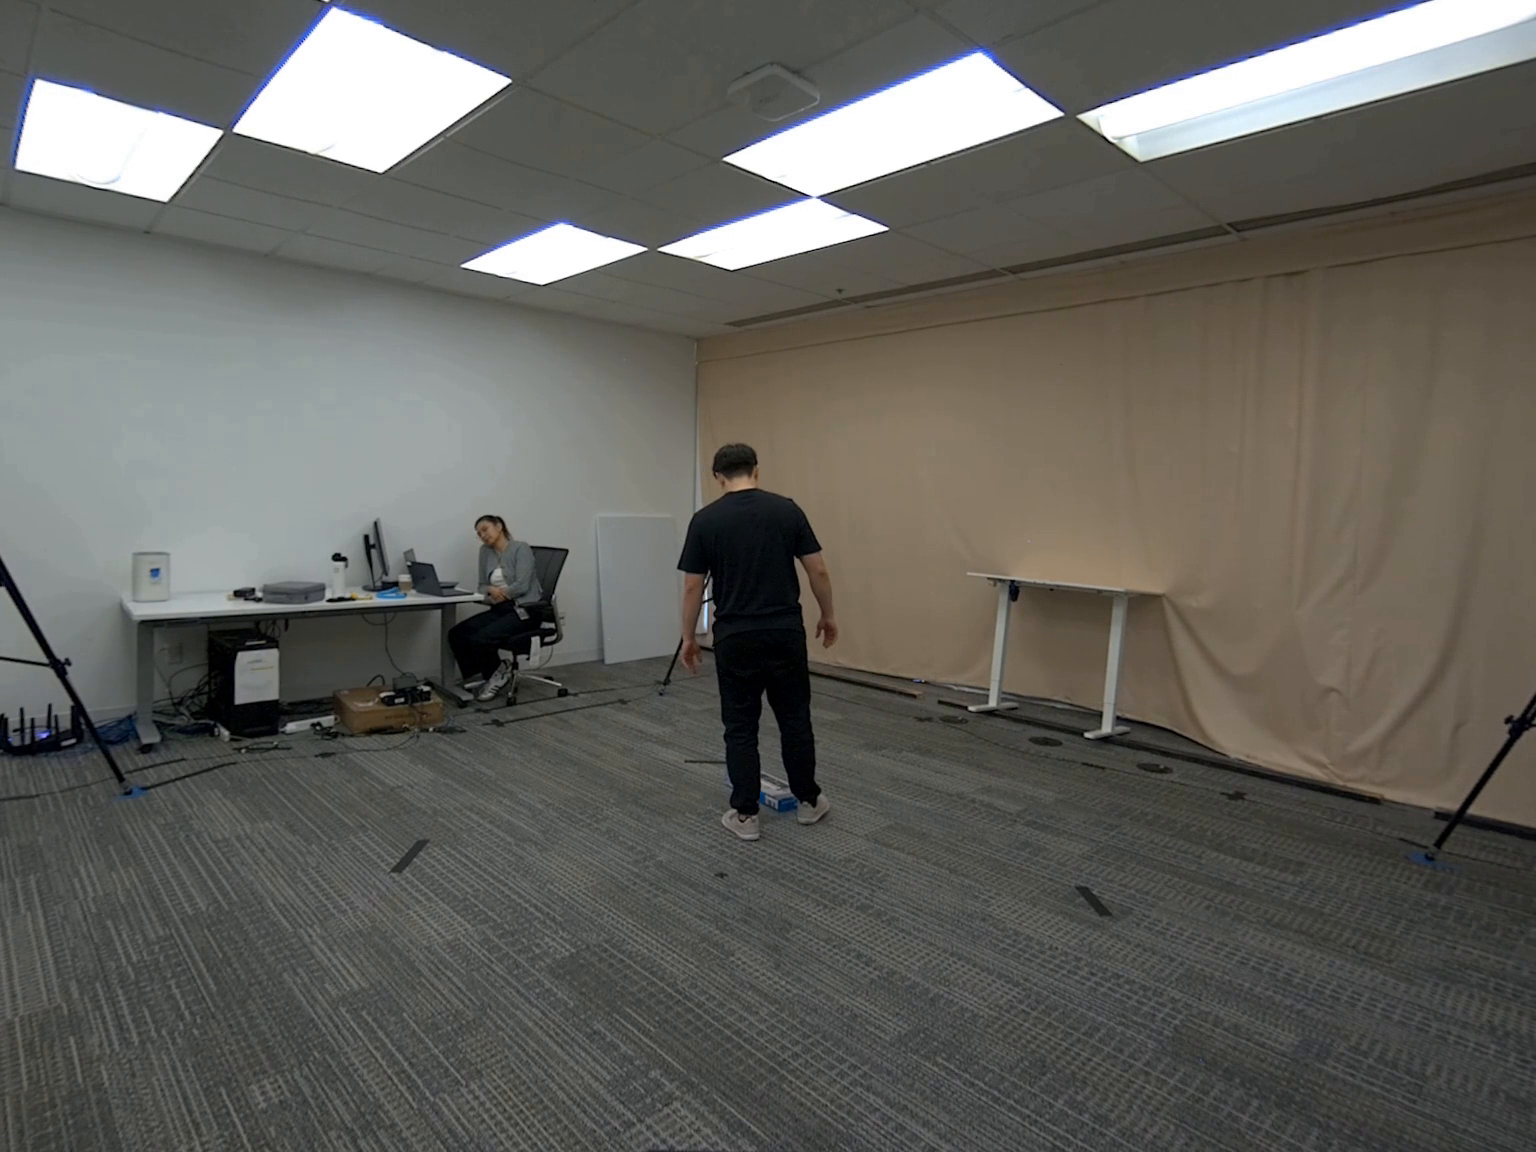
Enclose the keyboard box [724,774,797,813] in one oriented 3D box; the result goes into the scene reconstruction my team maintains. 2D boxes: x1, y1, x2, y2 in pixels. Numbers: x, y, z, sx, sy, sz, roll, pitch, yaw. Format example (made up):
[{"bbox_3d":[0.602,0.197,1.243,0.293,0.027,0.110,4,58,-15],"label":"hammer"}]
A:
[{"bbox_3d":[-0.025,1.004,3.973,0.172,0.059,0.448,-2,6,-36],"label":"keyboard box"}]
